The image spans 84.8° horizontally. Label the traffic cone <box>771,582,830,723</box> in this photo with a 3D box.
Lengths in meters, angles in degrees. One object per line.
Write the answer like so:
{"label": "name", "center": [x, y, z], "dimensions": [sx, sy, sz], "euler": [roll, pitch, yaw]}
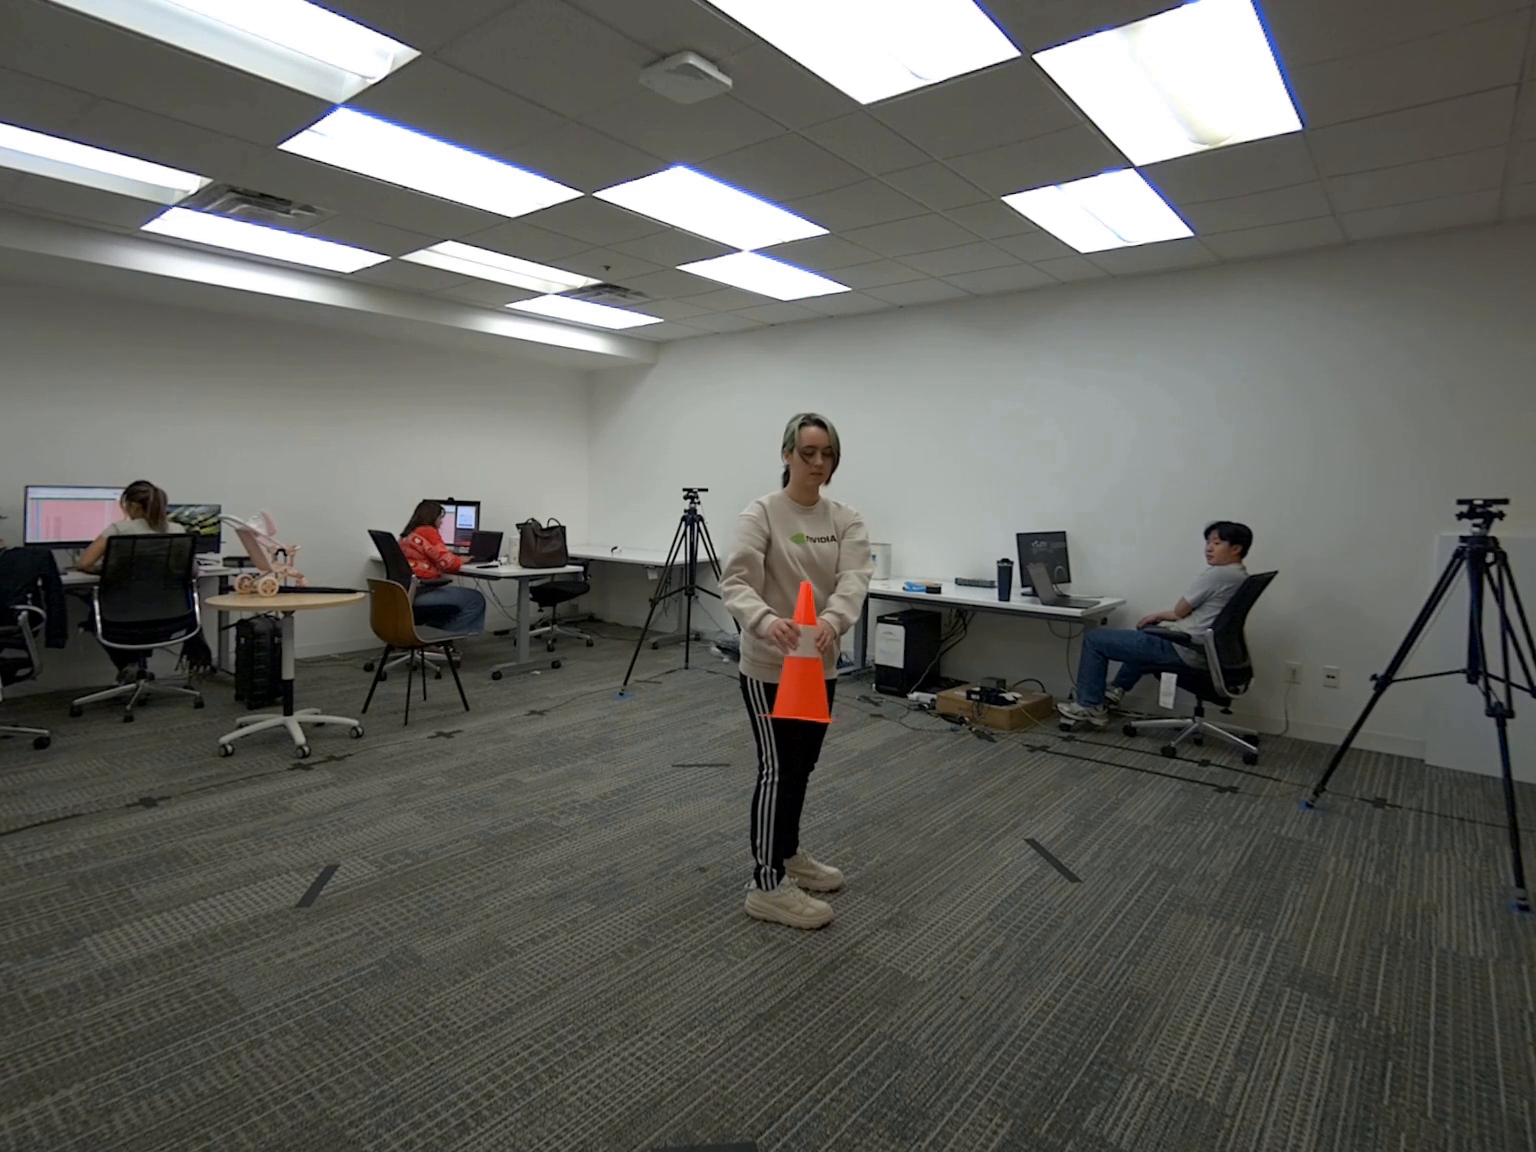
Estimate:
{"label": "traffic cone", "center": [0.095, 0.206, 2.424], "dimensions": [0.209, 0.387, 0.198], "euler": [0, -9, 17]}
